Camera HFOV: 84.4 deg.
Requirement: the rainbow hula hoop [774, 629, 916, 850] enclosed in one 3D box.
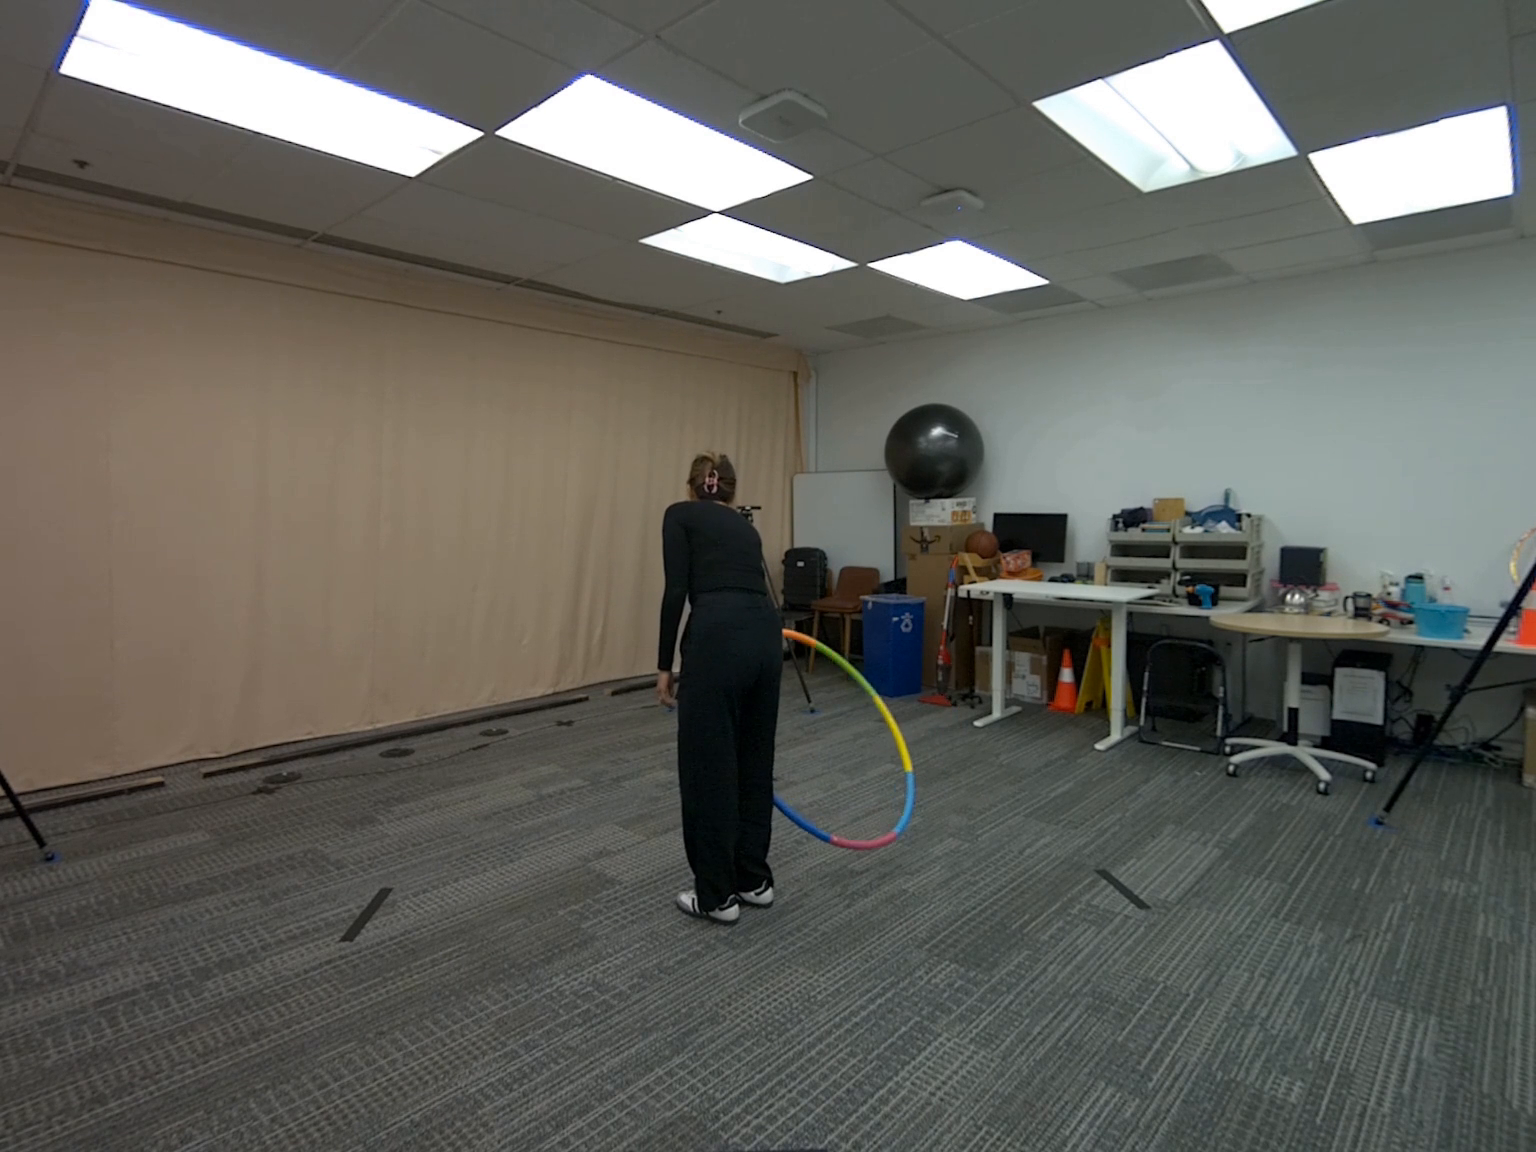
[{"bbox_3d":[0.217,0.631,3.402,0.955,1.009,0.052,-5,-35,-48],"label":"rainbow hula hoop"}]
